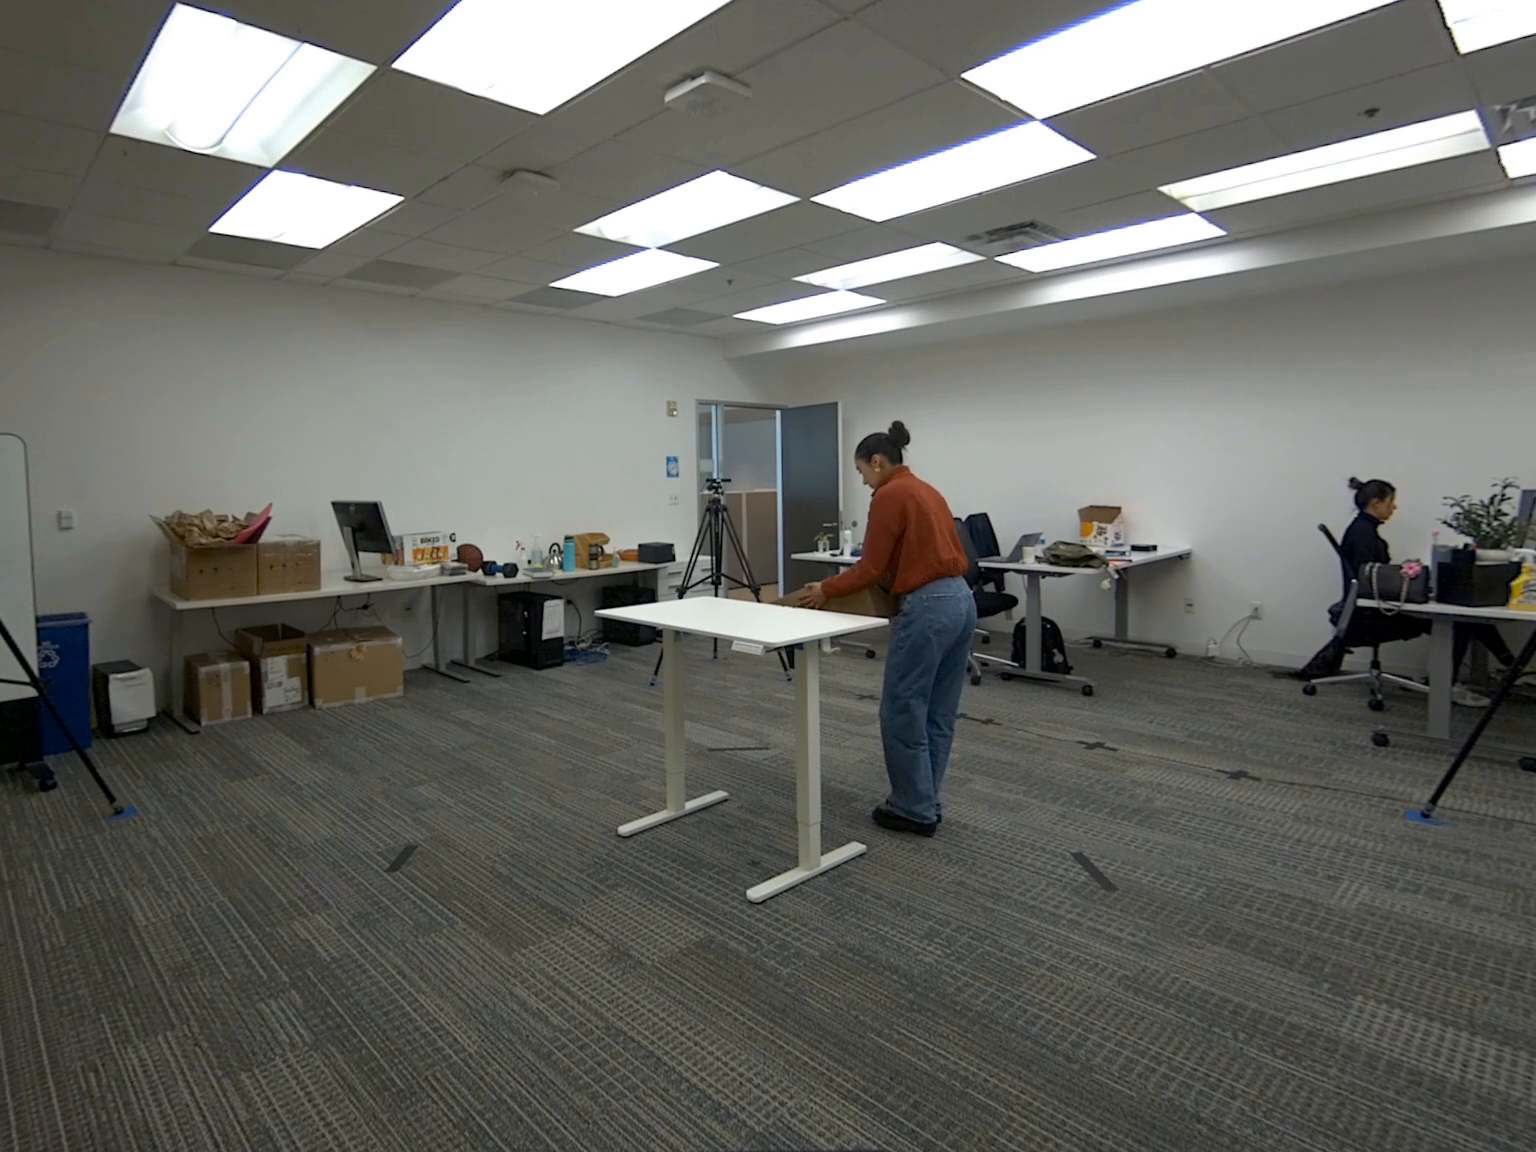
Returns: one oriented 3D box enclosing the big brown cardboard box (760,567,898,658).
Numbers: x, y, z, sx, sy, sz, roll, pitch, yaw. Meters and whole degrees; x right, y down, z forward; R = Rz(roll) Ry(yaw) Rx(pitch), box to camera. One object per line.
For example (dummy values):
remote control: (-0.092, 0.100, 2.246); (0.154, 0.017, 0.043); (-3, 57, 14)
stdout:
big brown cardboard box: (0.342, 0.133, 3.681); (0.406, 0.236, 0.597); (-5, -15, -46)
